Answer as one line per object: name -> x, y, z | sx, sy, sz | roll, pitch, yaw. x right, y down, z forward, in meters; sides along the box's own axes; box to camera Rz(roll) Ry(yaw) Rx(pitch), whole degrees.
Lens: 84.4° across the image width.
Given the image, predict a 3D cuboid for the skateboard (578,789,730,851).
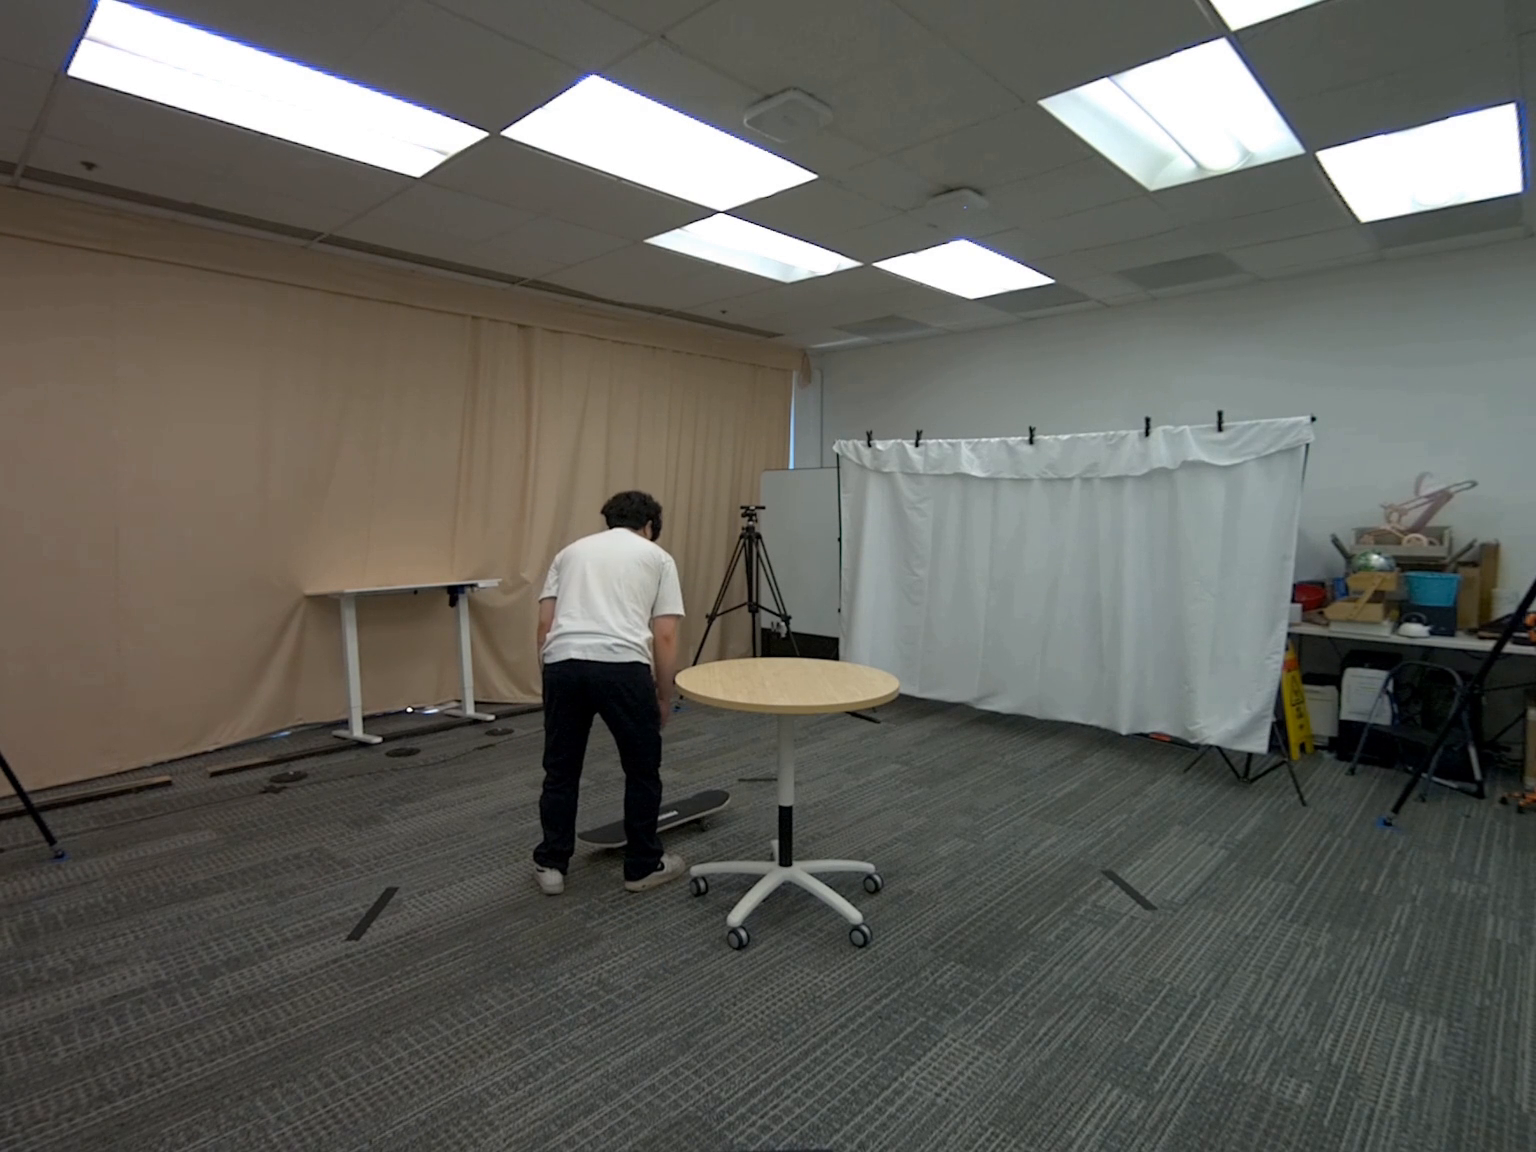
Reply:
skateboard -> -0.469, 1.053, 3.531 | 0.200, 0.110, 0.761 | 3, 6, 44
